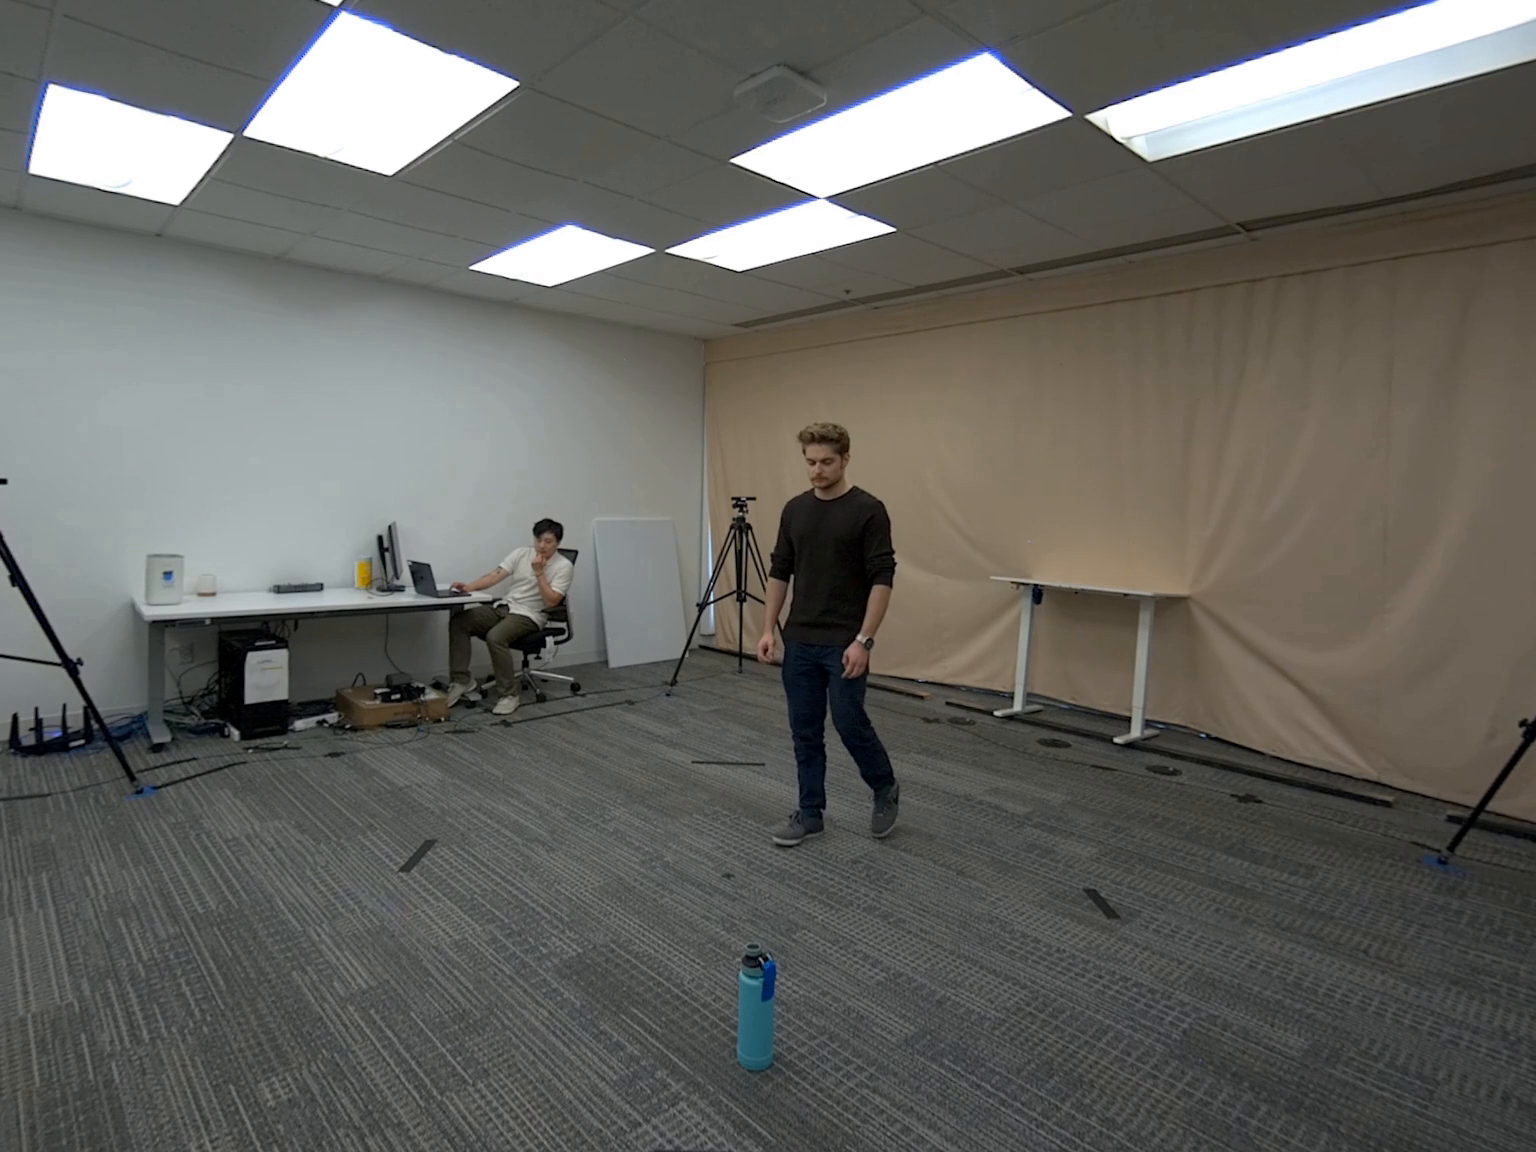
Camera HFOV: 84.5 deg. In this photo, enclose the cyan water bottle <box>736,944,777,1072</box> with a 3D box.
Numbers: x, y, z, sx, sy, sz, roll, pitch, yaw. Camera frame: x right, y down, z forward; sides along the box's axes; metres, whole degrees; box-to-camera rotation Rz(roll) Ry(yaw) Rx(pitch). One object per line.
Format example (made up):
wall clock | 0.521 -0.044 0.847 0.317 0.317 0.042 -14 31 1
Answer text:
cyan water bottle | -0.034 1.069 2.073 0.092 0.282 0.093 3 5 -2
